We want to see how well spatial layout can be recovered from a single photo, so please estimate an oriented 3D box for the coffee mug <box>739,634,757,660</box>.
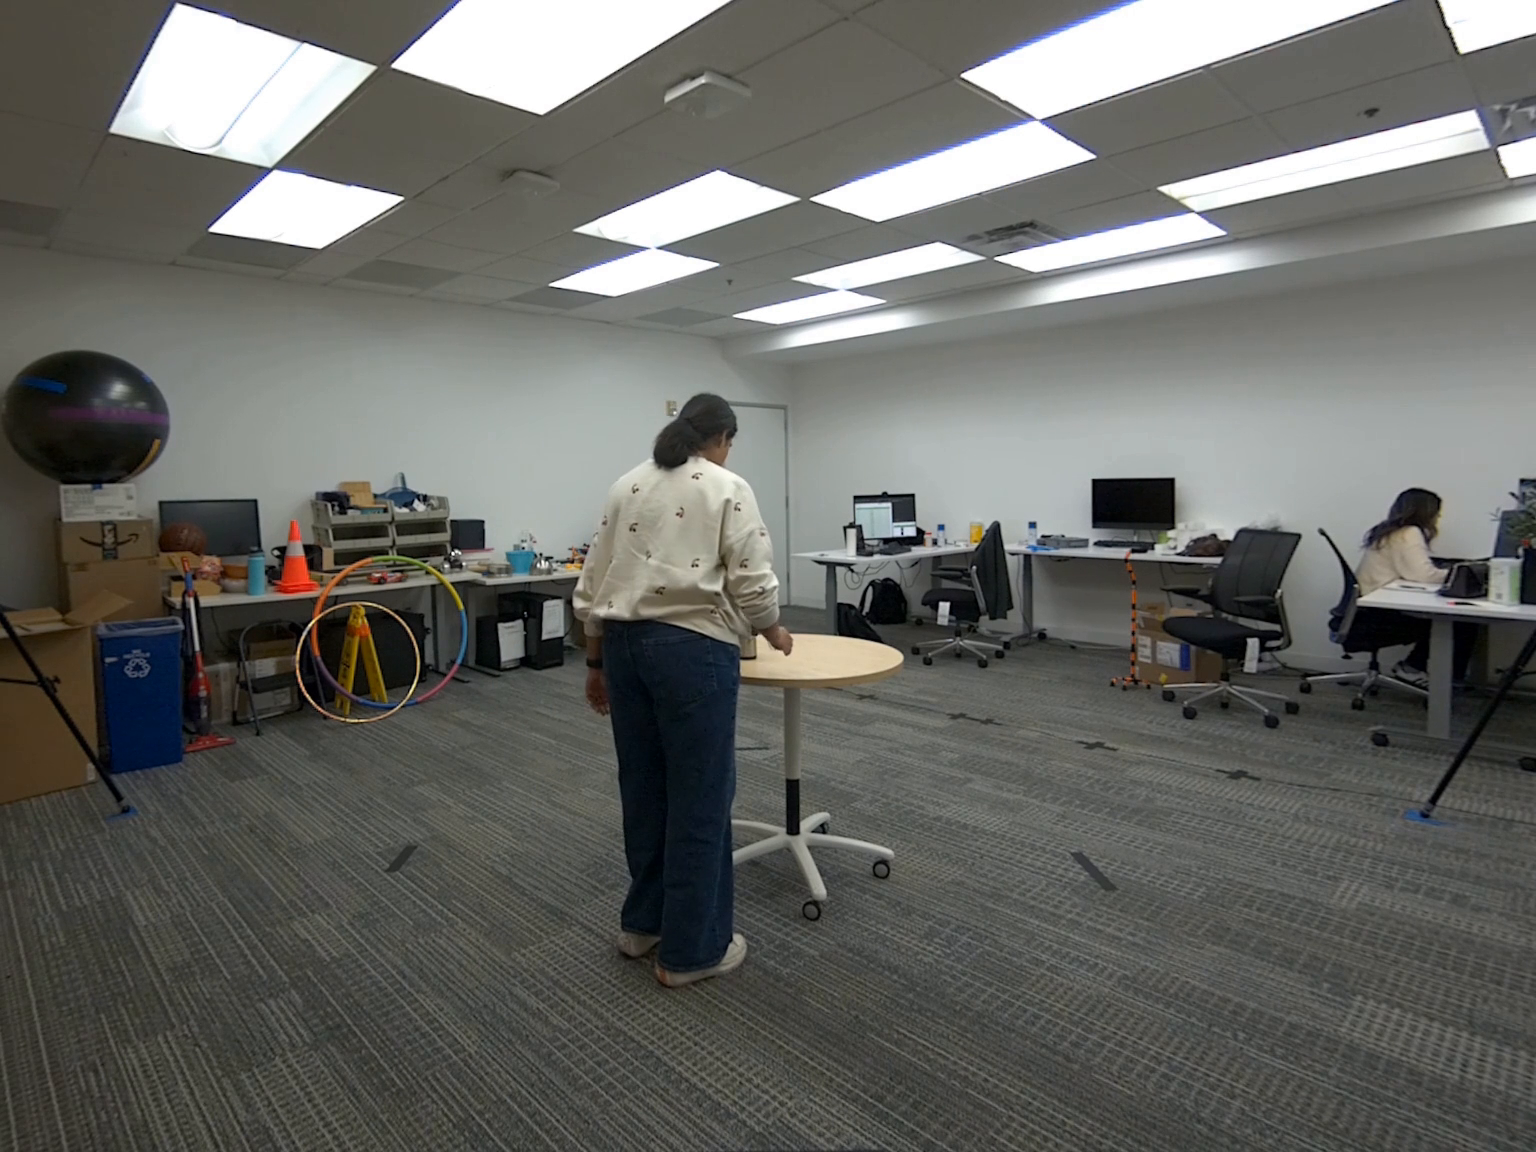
[{"bbox_3d":[-0.062,0.181,2.931,0.087,0.201,0.124,-6,11,-7],"label":"coffee mug"}]
